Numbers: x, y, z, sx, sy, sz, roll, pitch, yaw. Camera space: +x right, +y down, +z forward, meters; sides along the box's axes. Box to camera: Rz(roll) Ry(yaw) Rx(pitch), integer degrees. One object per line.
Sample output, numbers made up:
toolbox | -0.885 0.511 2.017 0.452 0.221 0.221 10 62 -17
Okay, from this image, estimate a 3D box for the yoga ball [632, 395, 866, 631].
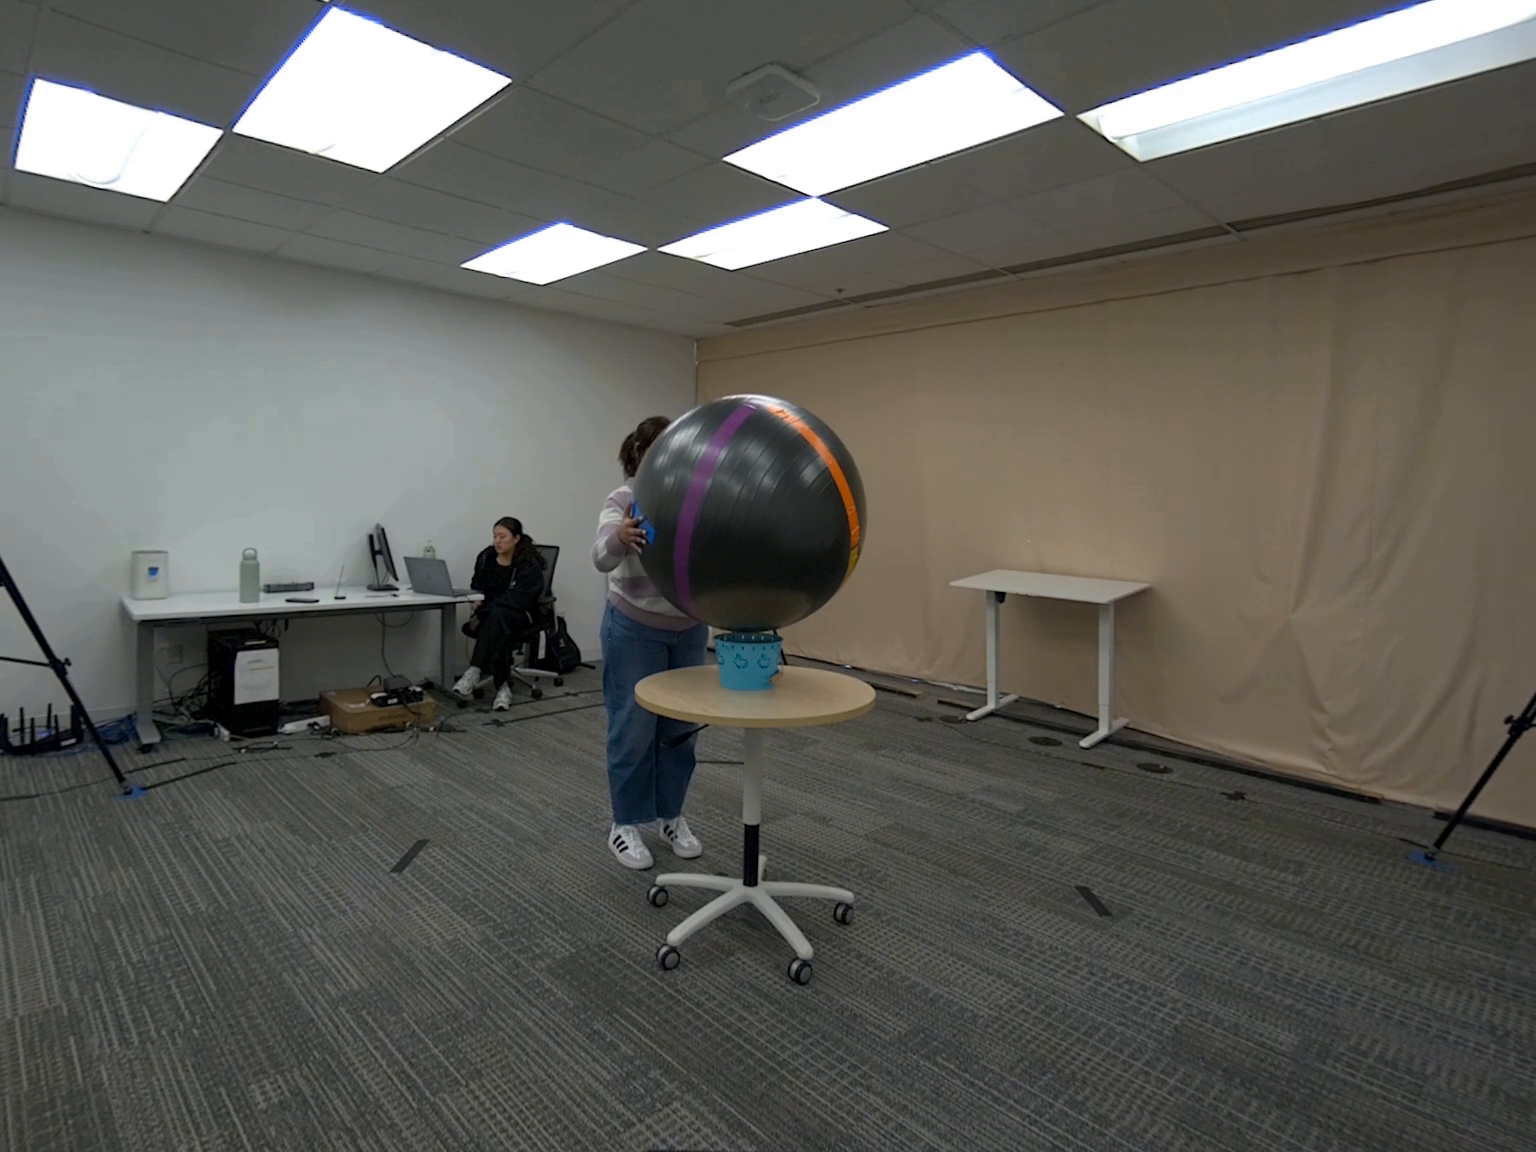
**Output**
yoga ball | -0.058 -0.192 2.705 0.757 0.756 0.761 1 4 -1
